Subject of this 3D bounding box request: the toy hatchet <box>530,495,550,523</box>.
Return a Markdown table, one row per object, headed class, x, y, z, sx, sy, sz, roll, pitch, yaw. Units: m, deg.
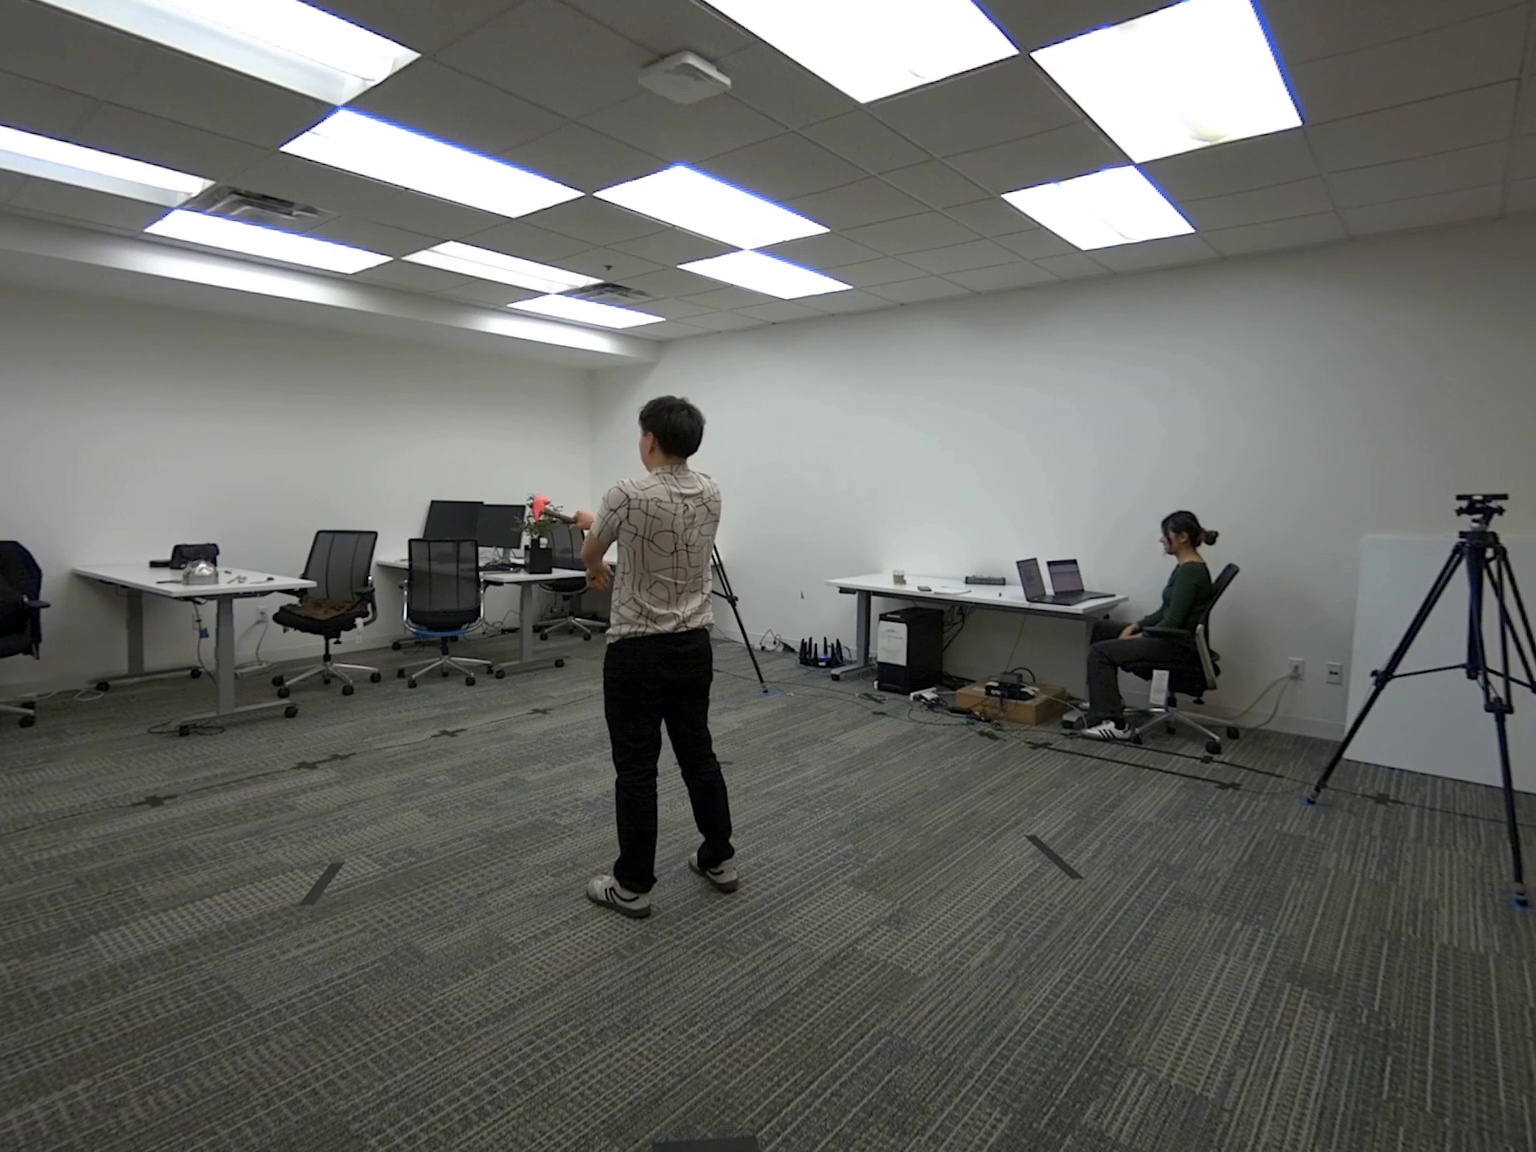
| class | x | y | z | sx | sy | sz | roll | pitch | yaw |
| --- | --- | --- | --- | --- | --- | --- | --- | --- | --- |
| toy hatchet | -0.769 | -0.245 | 3.197 | 0.261 | 0.136 | 0.029 | 6 | -43 | -40 |
